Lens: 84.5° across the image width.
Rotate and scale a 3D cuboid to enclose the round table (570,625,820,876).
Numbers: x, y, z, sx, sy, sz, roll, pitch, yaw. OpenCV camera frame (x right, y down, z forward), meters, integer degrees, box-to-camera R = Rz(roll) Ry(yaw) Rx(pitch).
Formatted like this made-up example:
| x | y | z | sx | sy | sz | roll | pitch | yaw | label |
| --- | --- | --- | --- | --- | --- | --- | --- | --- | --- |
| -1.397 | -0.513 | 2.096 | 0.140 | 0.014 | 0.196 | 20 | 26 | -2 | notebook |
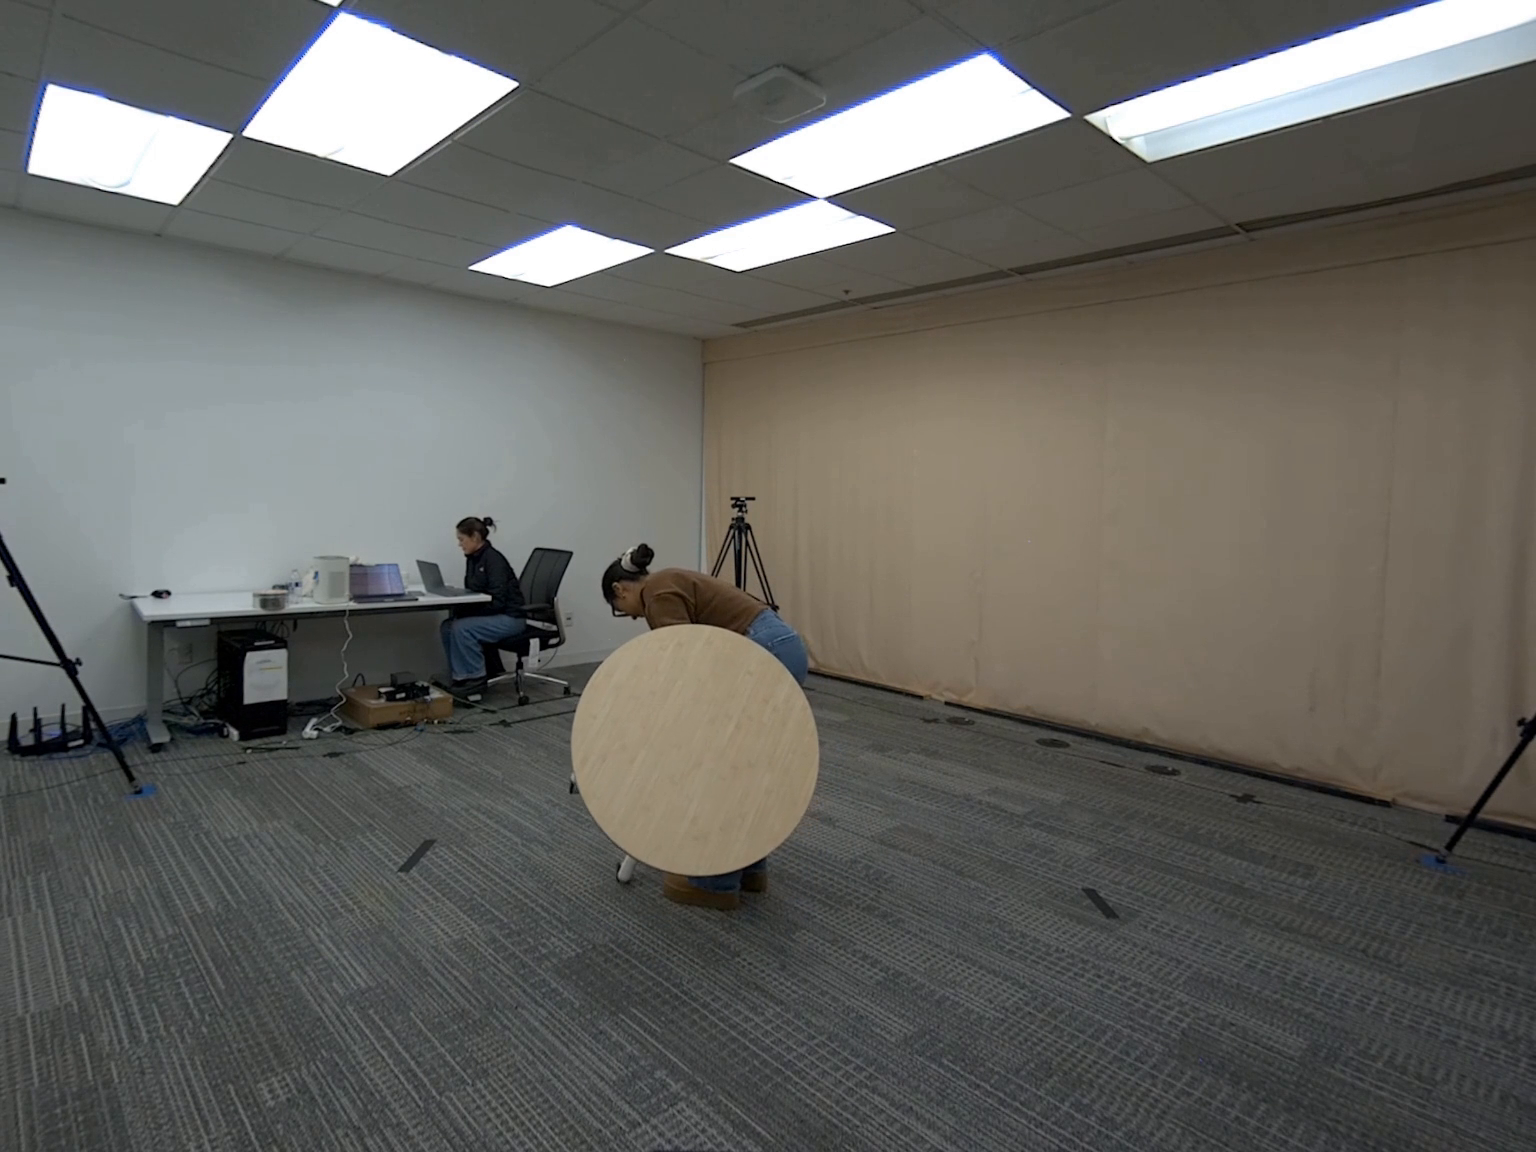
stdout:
| x | y | z | sx | sy | sz | roll | pitch | yaw | label |
| --- | --- | --- | --- | --- | --- | --- | --- | --- | --- |
| -0.317 | 0.669 | 2.901 | 0.755 | 0.779 | 0.788 | 0 | -26 | -15 | round table |
